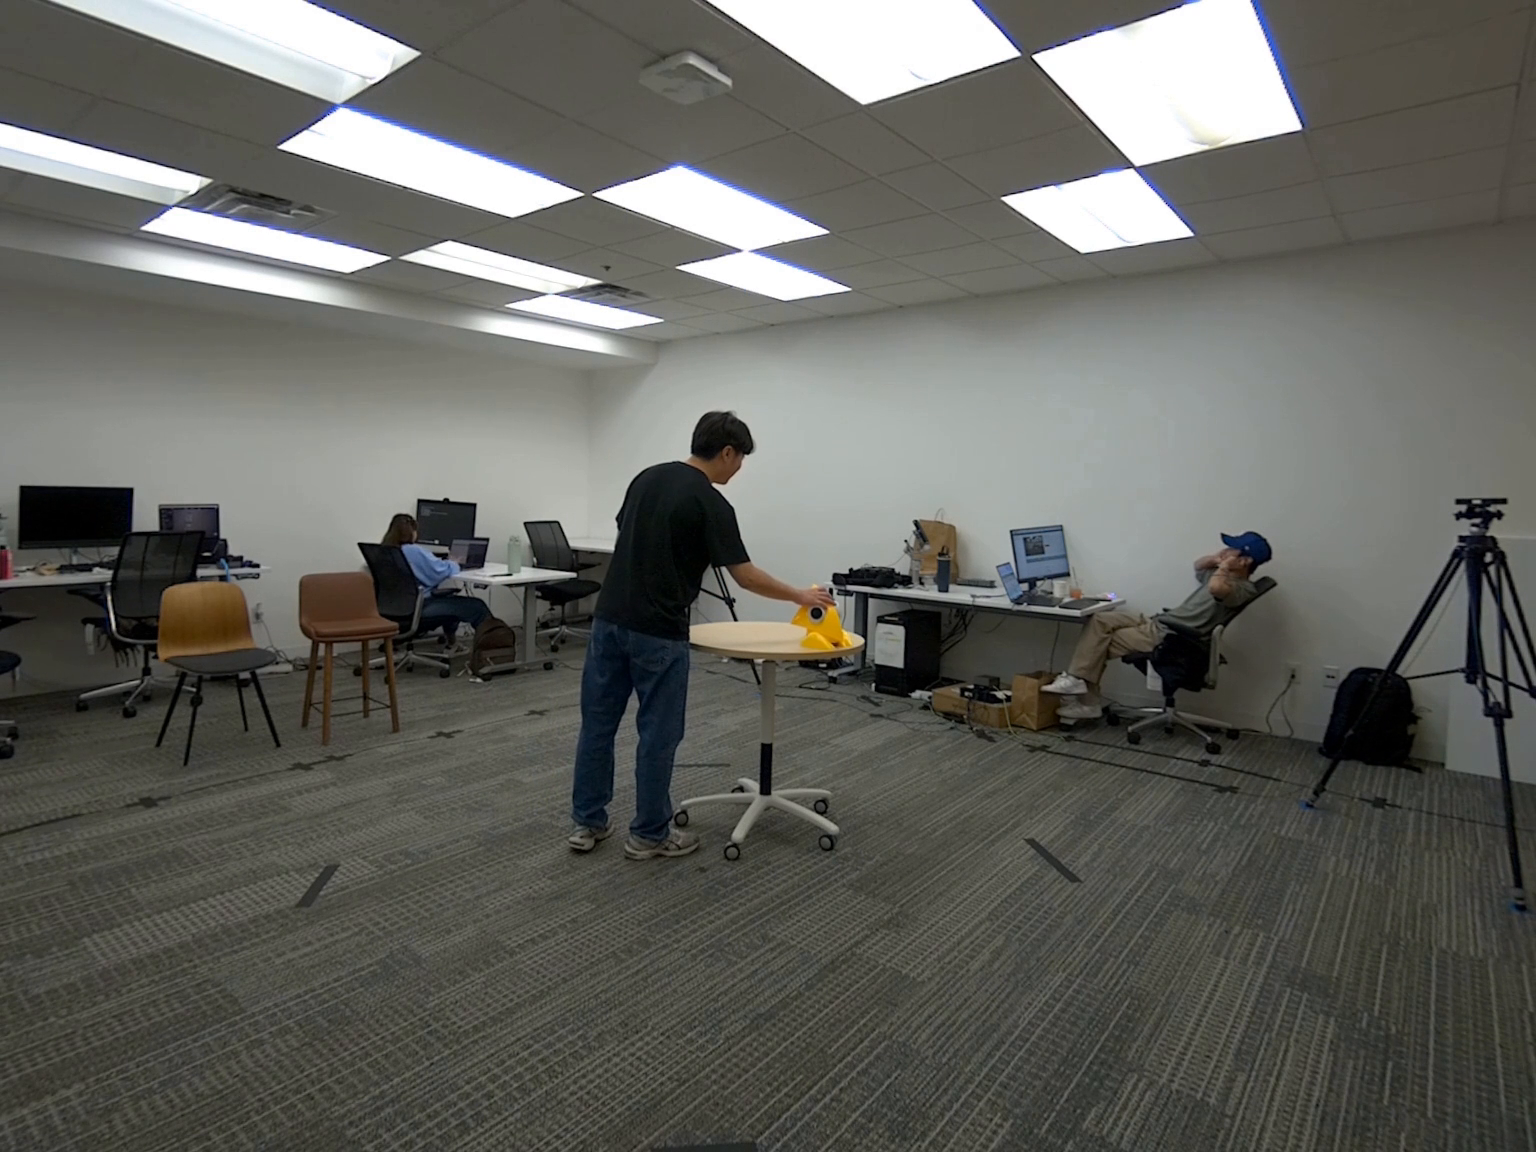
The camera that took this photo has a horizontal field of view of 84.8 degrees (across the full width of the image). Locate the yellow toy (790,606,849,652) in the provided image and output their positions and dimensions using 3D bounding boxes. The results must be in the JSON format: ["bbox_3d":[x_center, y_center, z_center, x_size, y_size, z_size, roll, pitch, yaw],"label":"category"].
[{"bbox_3d":[0.213,0.153,3.294,0.198,0.230,0.200,-2,5,-44],"label":"yellow toy"}]
